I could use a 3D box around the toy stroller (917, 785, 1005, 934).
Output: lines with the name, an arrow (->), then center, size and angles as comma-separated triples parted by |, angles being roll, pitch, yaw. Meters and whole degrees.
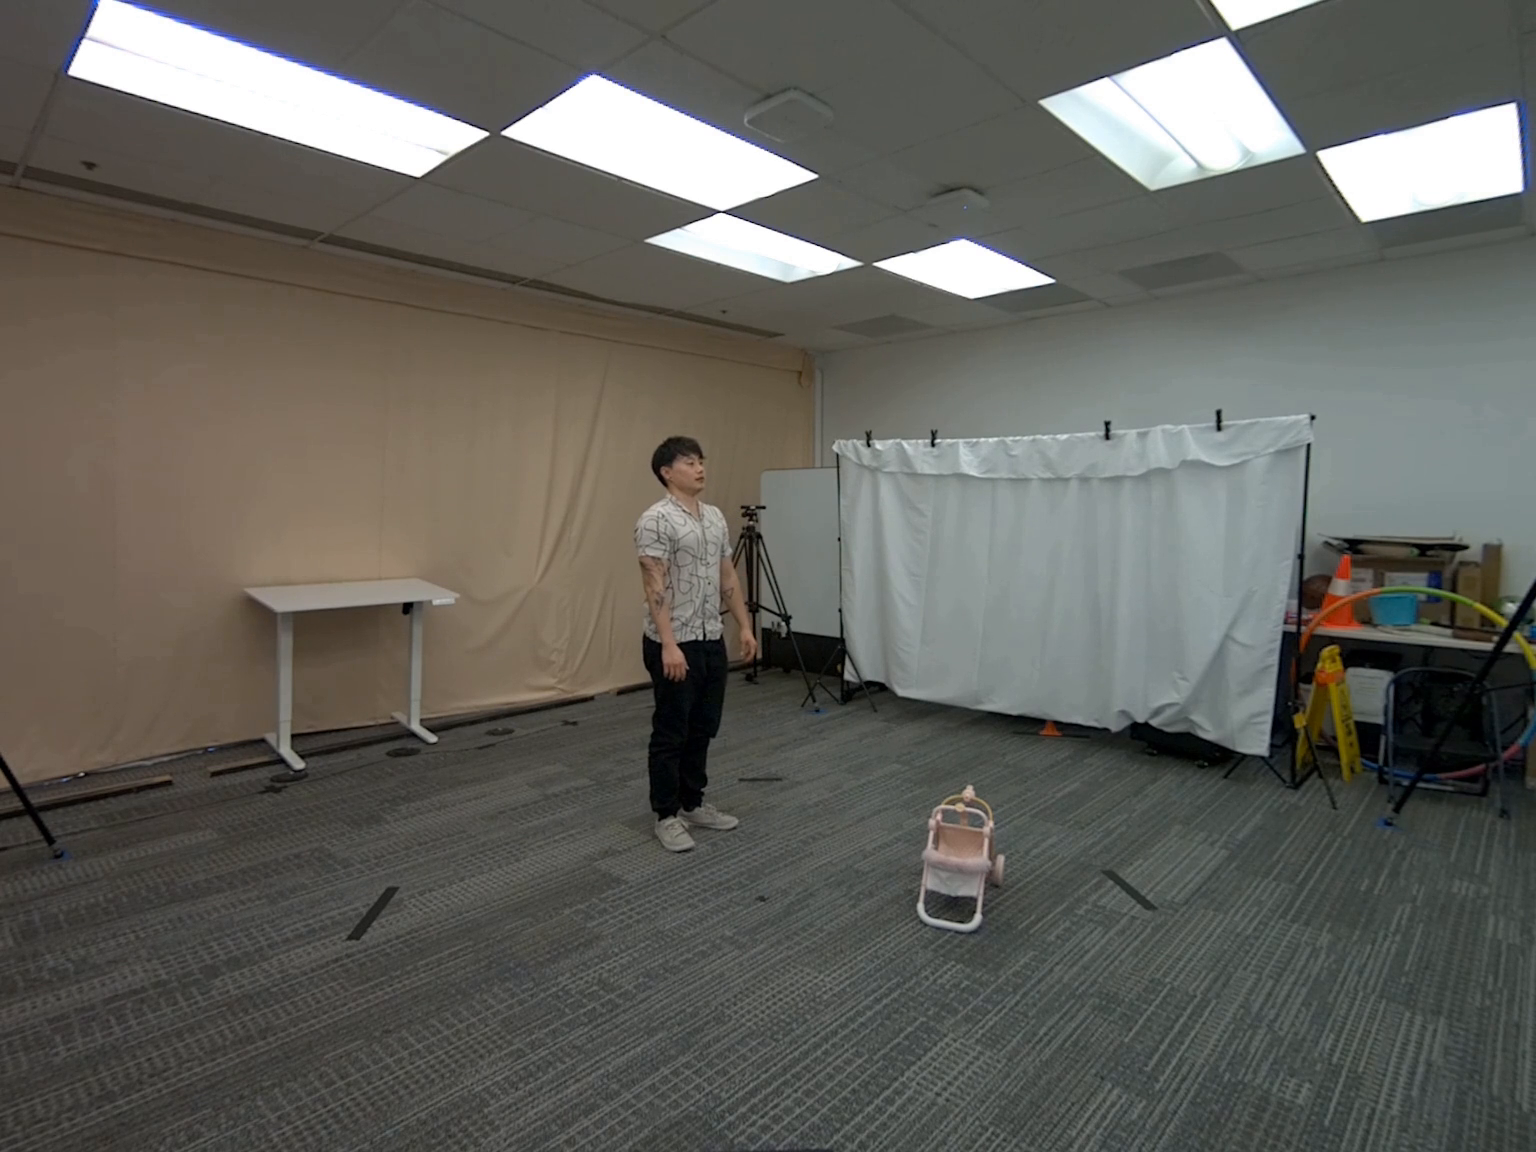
toy stroller -> 0.691, 0.979, 2.991 | 0.288, 0.340, 0.523 | 6, 5, 22
